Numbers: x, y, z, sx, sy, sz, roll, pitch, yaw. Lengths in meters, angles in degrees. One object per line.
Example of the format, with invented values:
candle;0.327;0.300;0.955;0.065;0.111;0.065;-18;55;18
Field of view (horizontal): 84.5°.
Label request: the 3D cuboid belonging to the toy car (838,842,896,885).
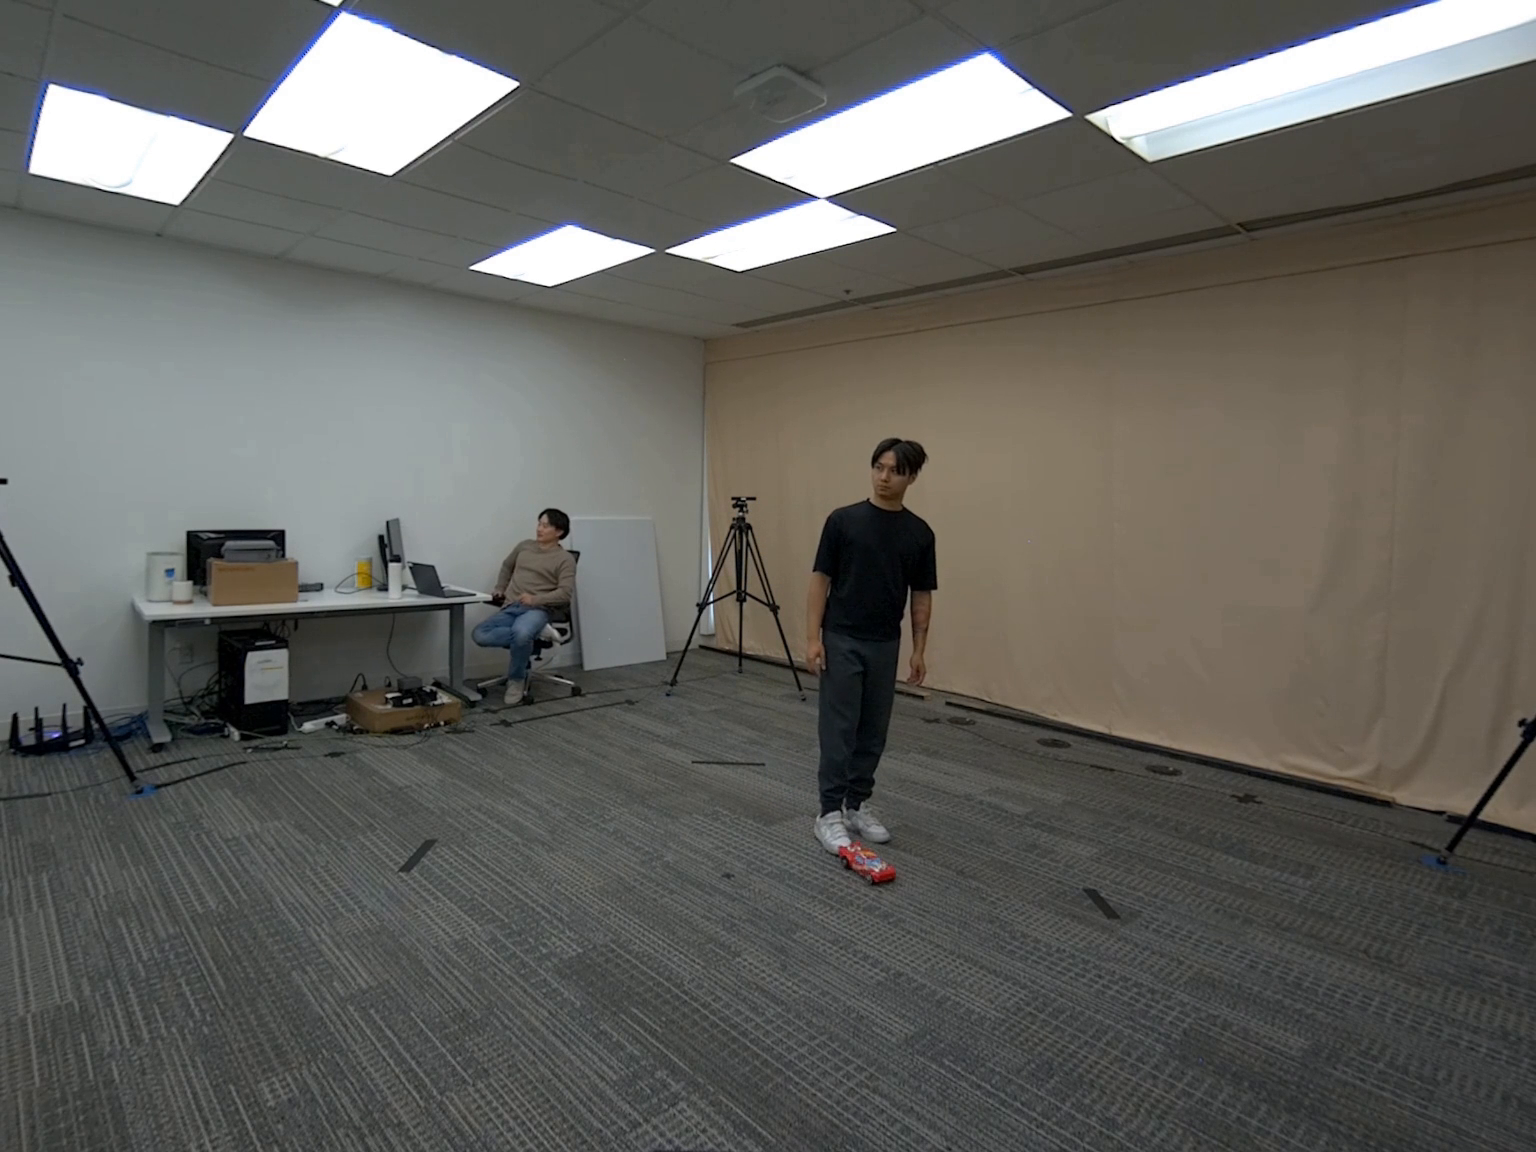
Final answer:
toy car;0.356;1.083;3.166;0.128;0.082;0.262;-1;17;-27
